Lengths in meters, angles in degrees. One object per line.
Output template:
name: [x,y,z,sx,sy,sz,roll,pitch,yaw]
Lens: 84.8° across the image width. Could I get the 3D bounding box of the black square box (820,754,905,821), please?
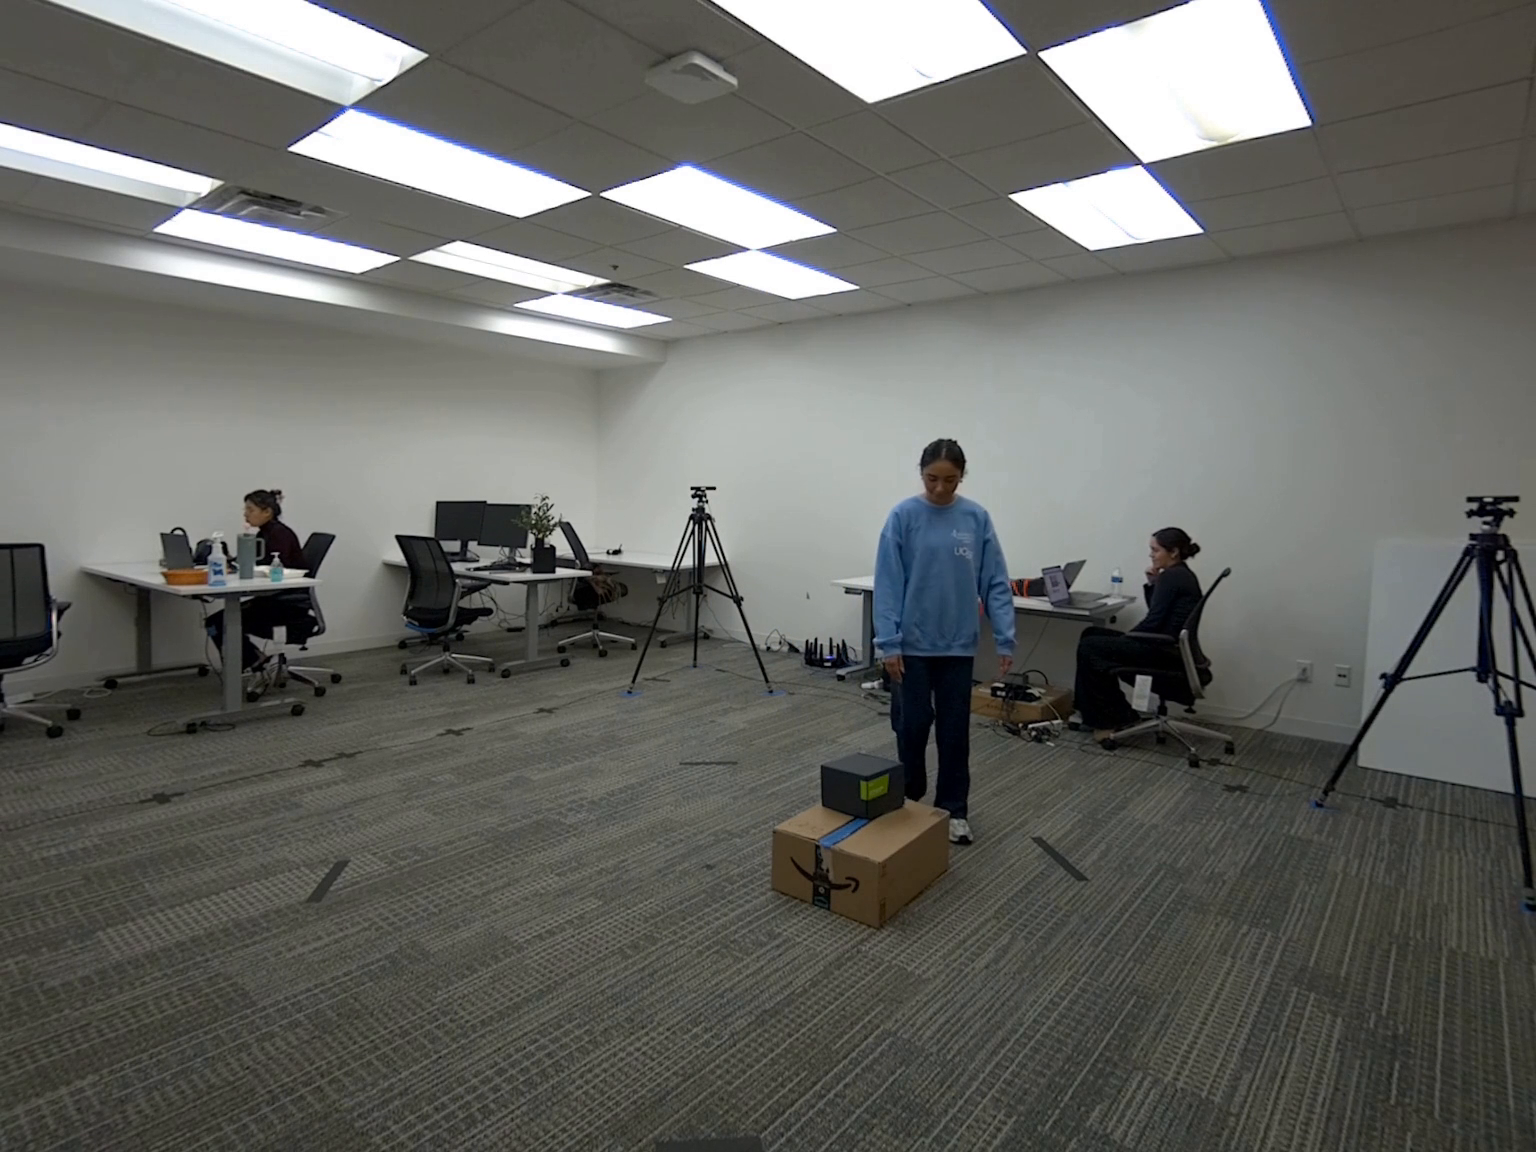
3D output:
black square box: [0.343,0.768,3.158,0.224,0.156,0.221,2,4,45]
